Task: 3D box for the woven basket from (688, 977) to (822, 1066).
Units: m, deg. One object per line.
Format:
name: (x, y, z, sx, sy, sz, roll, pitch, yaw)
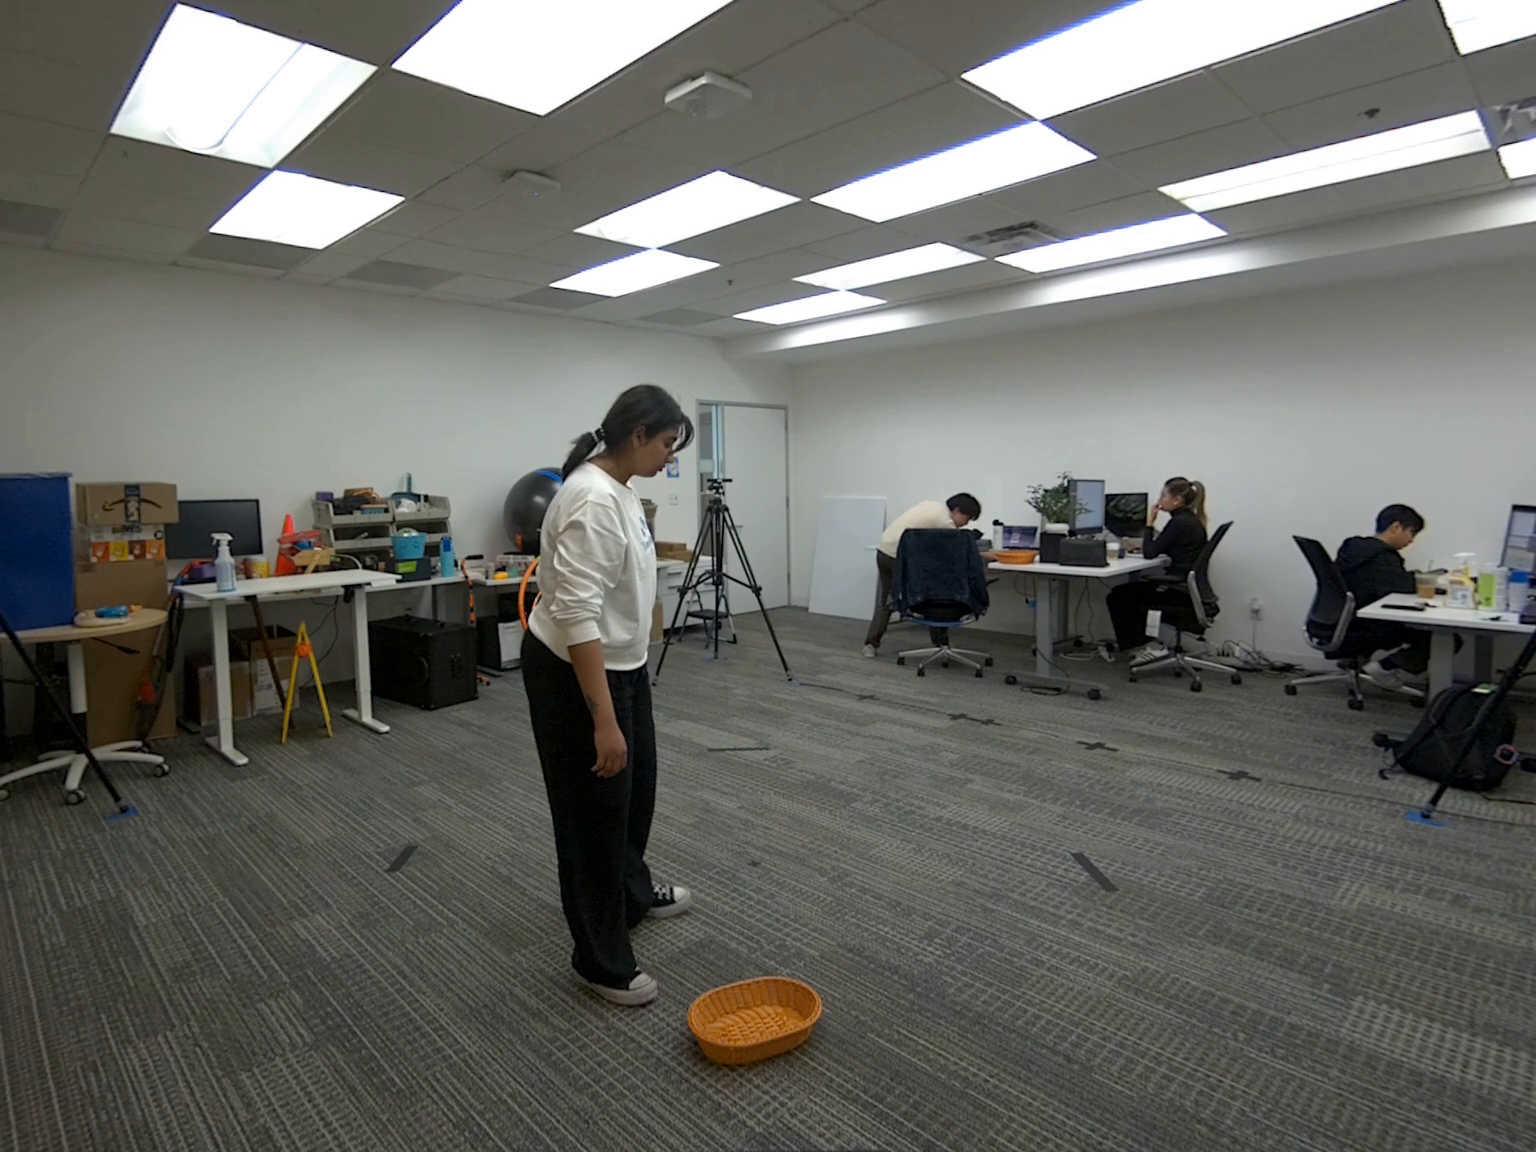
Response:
woven basket: (-0.035, 1.119, 2.150, 0.343, 0.073, 0.258, -4, 6, -24)
